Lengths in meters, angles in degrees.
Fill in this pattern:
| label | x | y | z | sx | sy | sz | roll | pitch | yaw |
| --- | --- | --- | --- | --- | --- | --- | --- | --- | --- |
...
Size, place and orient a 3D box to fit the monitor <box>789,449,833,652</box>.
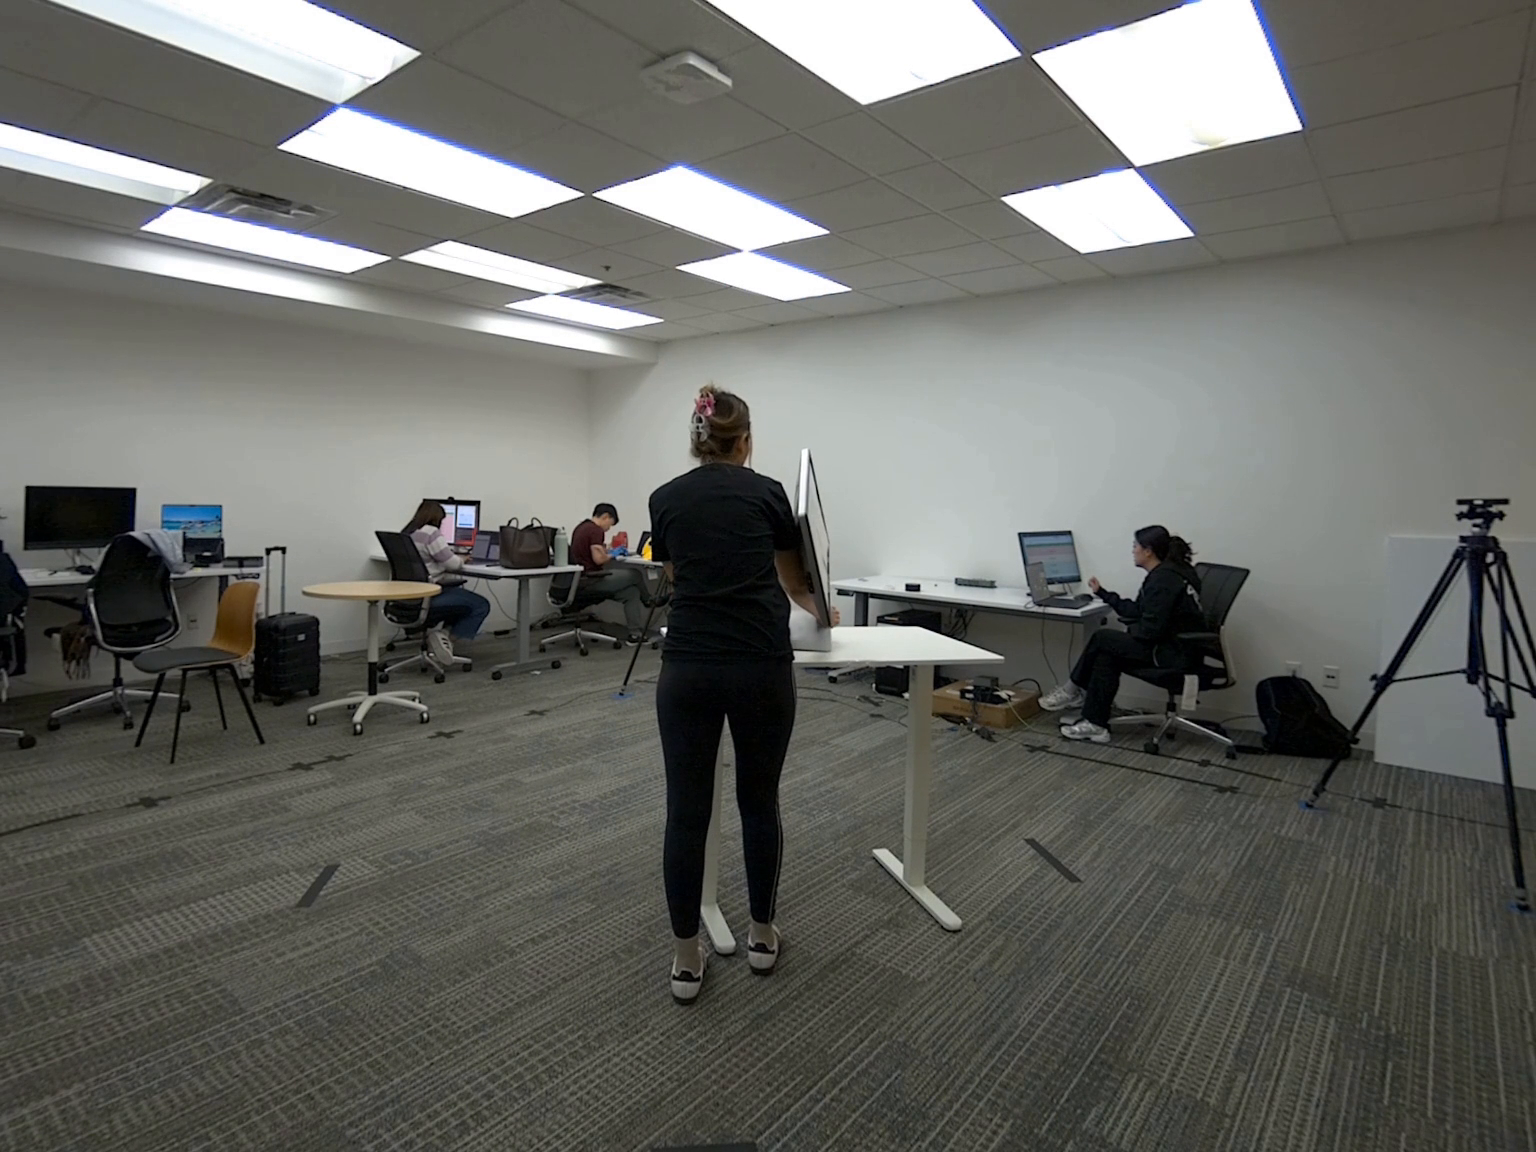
| label | x | y | z | sx | sy | sz | roll | pitch | yaw |
| --- | --- | --- | --- | --- | --- | --- | --- | --- | --- |
| monitor | 0.109 | -0.055 | 2.709 | 0.188 | 0.510 | 0.550 | 0 | 27 | 2 |
